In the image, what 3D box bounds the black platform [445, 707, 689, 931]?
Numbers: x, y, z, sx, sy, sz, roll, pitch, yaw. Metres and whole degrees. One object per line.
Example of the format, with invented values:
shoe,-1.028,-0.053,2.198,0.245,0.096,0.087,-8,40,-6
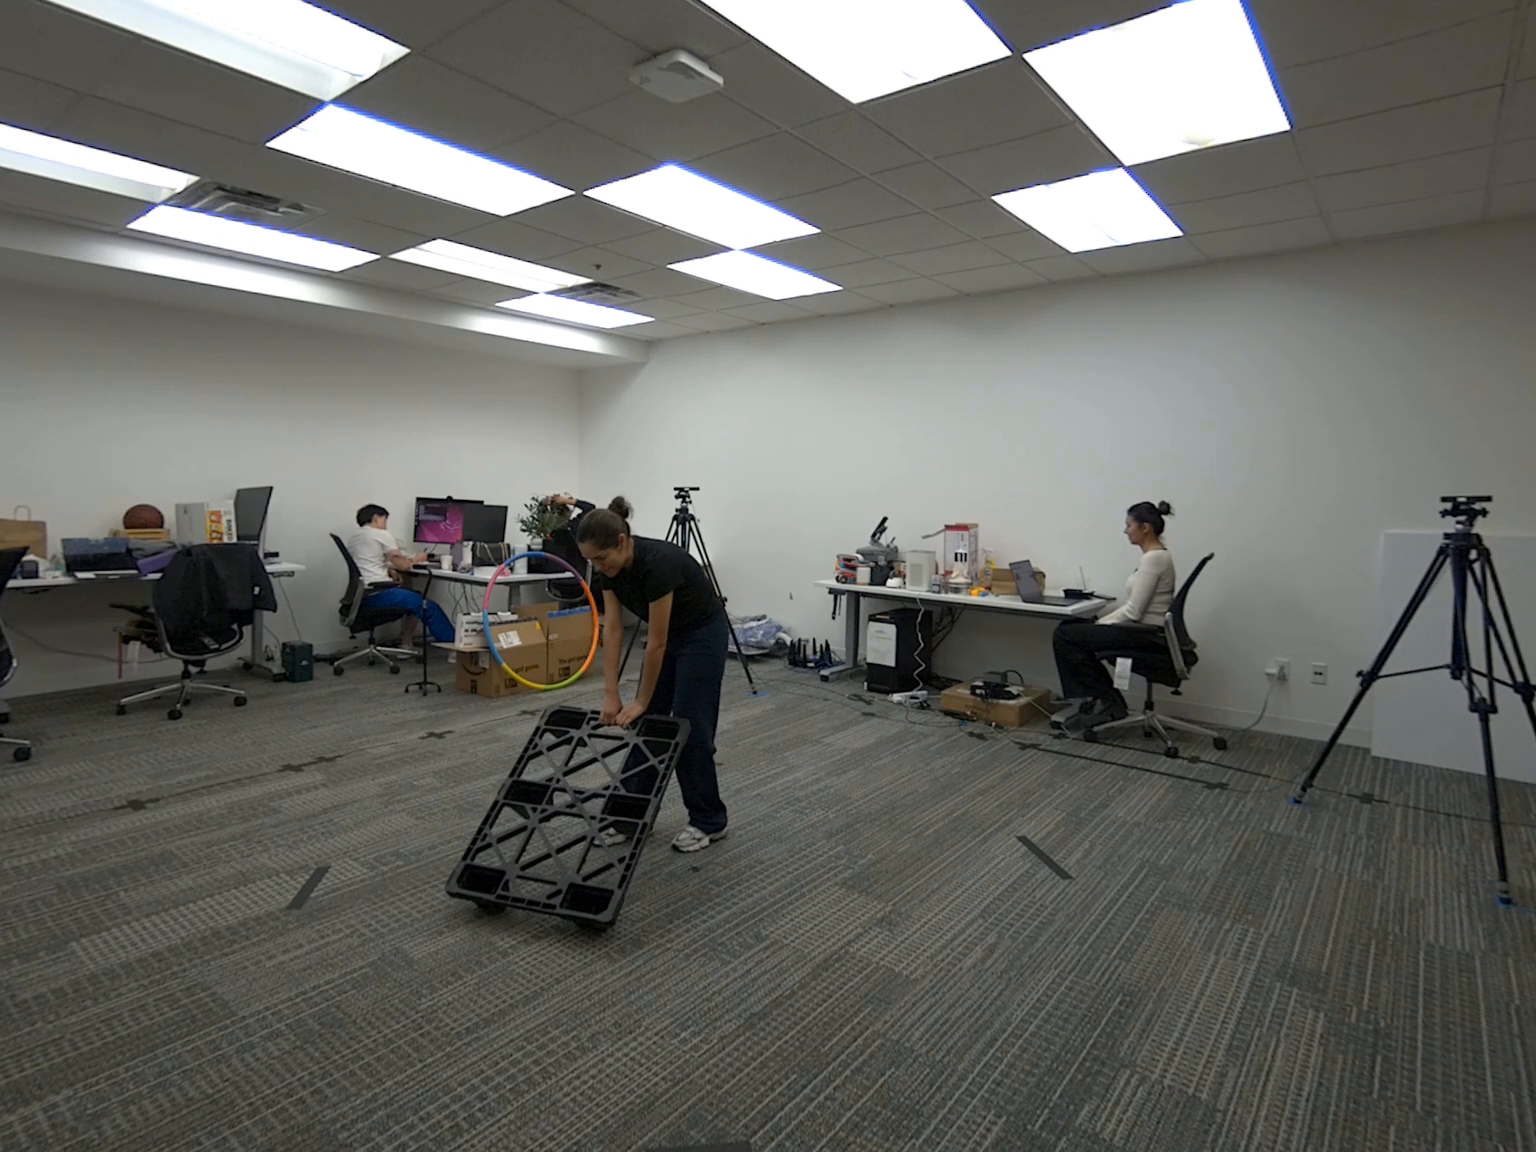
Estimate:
black platform,-0.641,0.812,2.984,0.617,0.138,0.817,1,39,17
